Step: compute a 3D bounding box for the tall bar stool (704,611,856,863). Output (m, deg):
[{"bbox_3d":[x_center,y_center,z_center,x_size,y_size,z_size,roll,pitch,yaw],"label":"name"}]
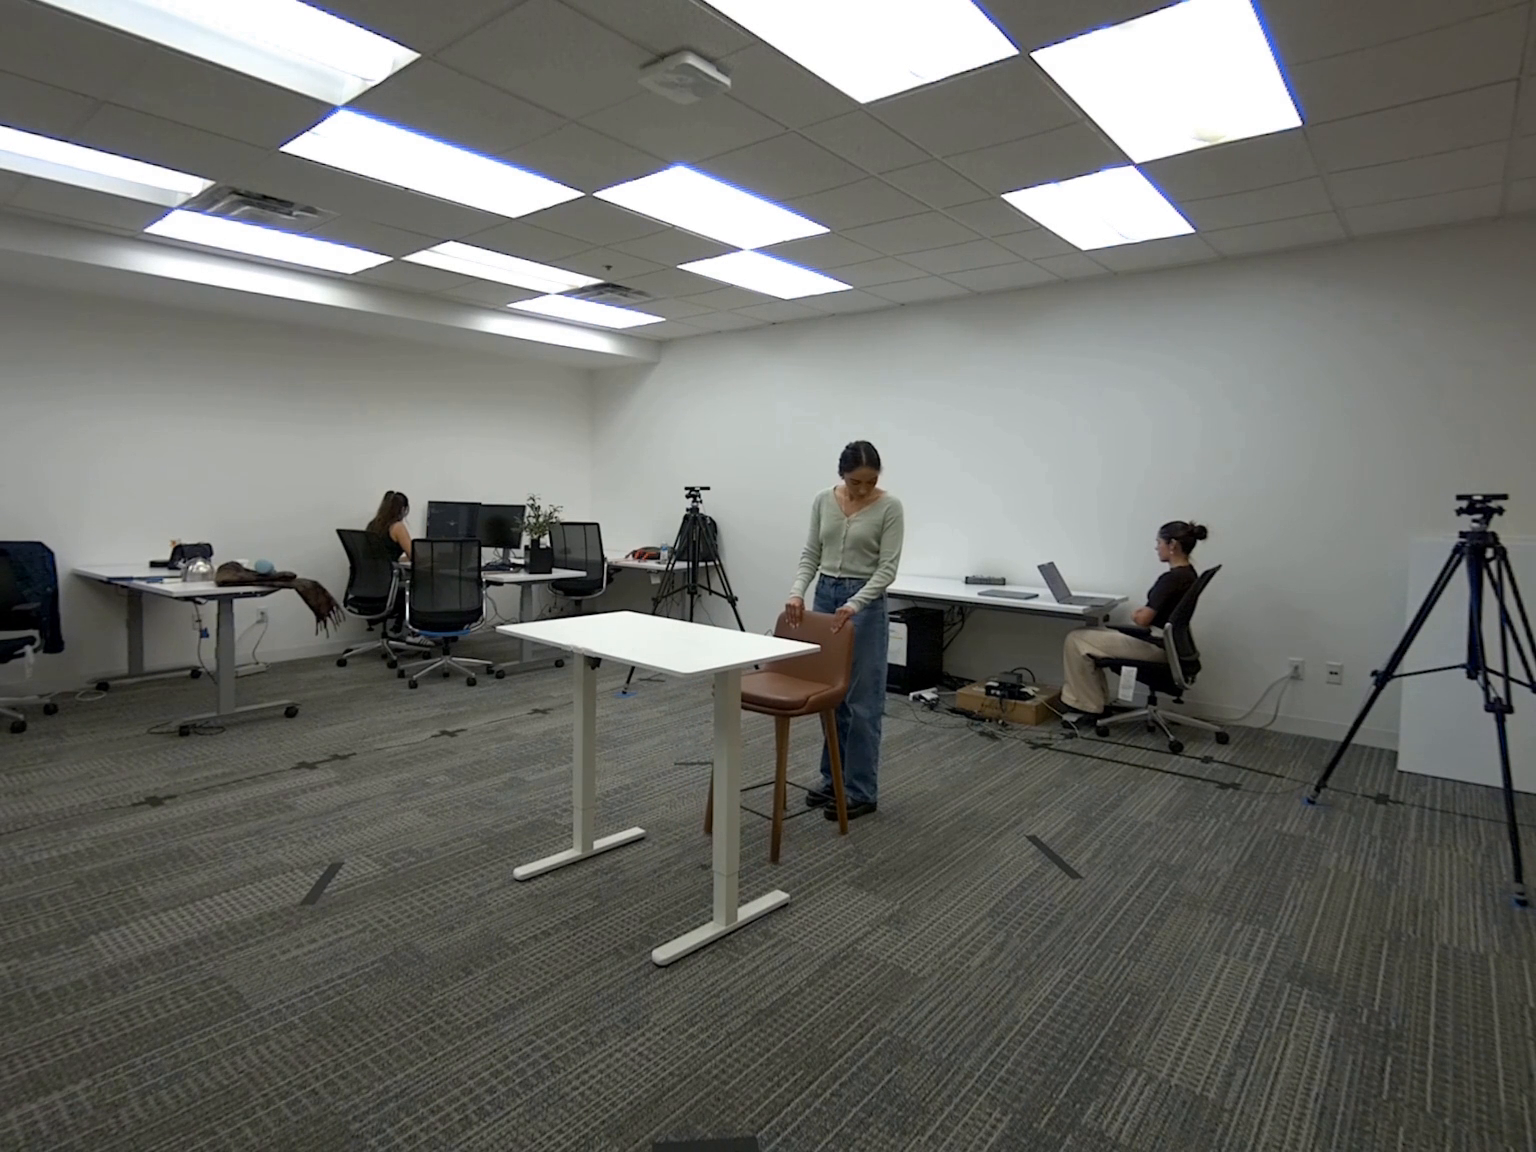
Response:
[{"bbox_3d":[0.049,0.596,3.429,0.453,0.888,0.472,0,3,-44],"label":"tall bar stool"}]
